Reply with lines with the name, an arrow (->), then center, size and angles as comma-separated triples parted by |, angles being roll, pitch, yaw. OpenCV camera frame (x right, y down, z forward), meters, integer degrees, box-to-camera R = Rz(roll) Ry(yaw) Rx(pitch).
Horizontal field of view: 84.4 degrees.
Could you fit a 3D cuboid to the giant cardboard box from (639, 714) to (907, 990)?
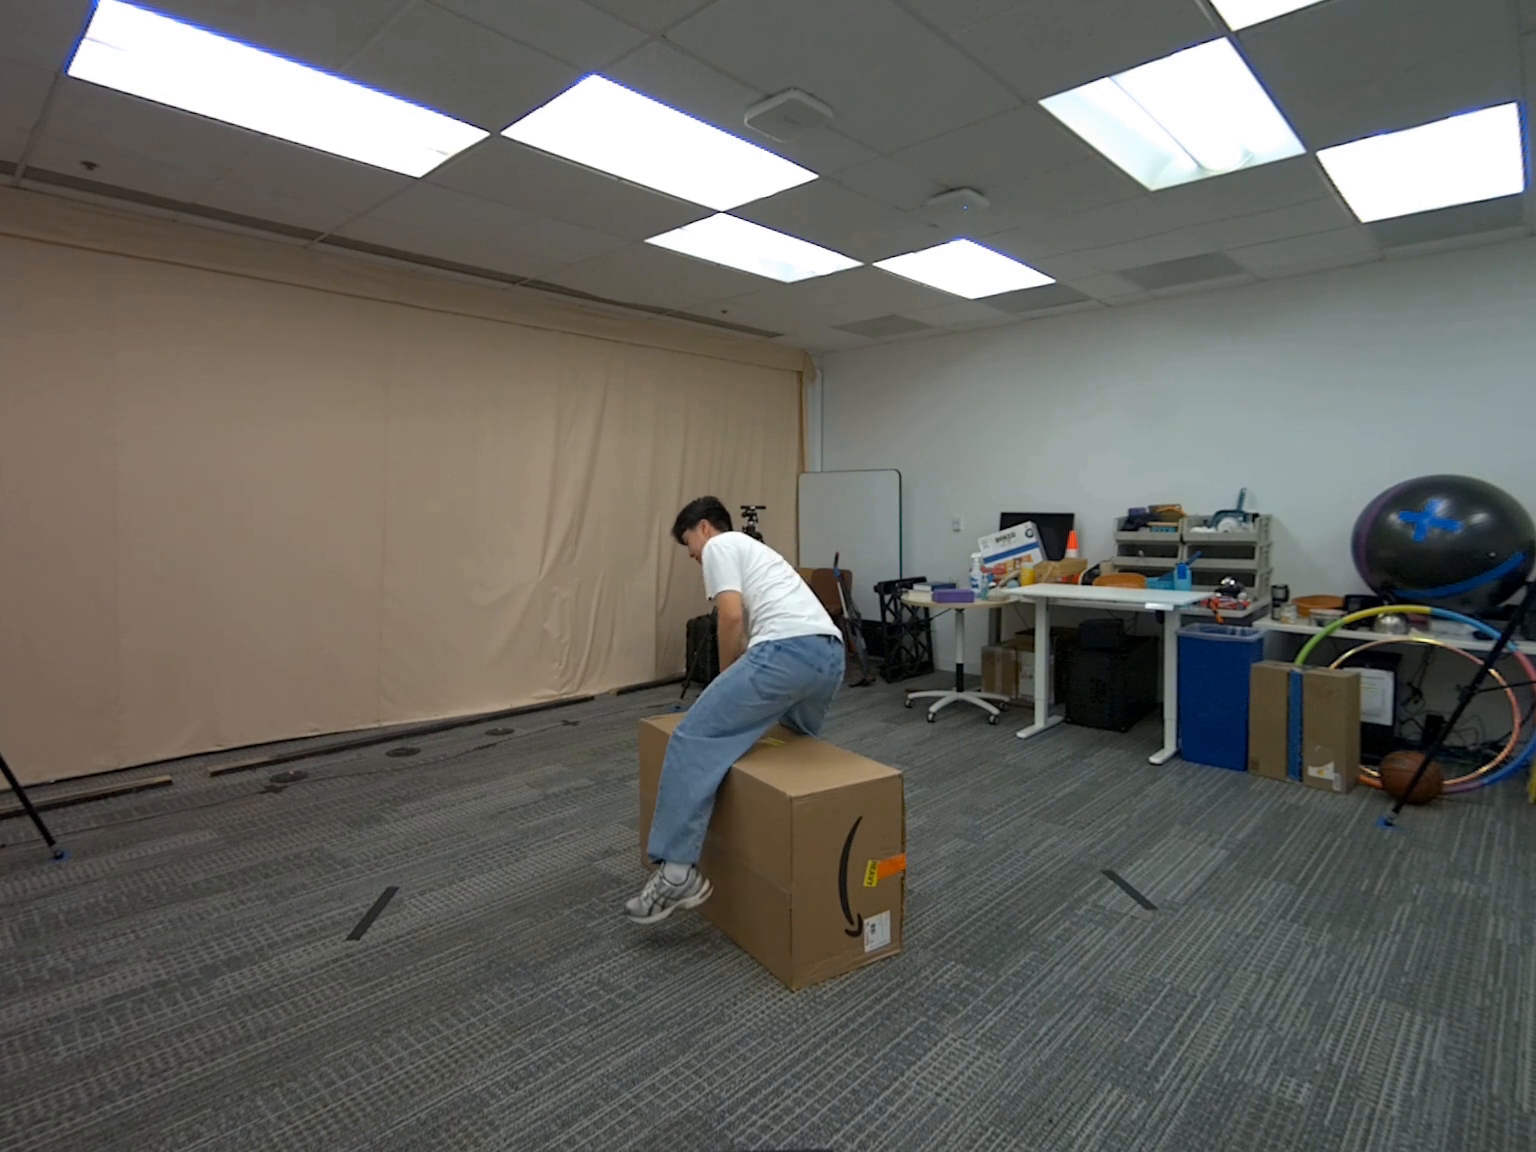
giant cardboard box -> -0.036, 0.862, 2.937 | 0.414, 0.576, 1.057 | -3, 5, -32
